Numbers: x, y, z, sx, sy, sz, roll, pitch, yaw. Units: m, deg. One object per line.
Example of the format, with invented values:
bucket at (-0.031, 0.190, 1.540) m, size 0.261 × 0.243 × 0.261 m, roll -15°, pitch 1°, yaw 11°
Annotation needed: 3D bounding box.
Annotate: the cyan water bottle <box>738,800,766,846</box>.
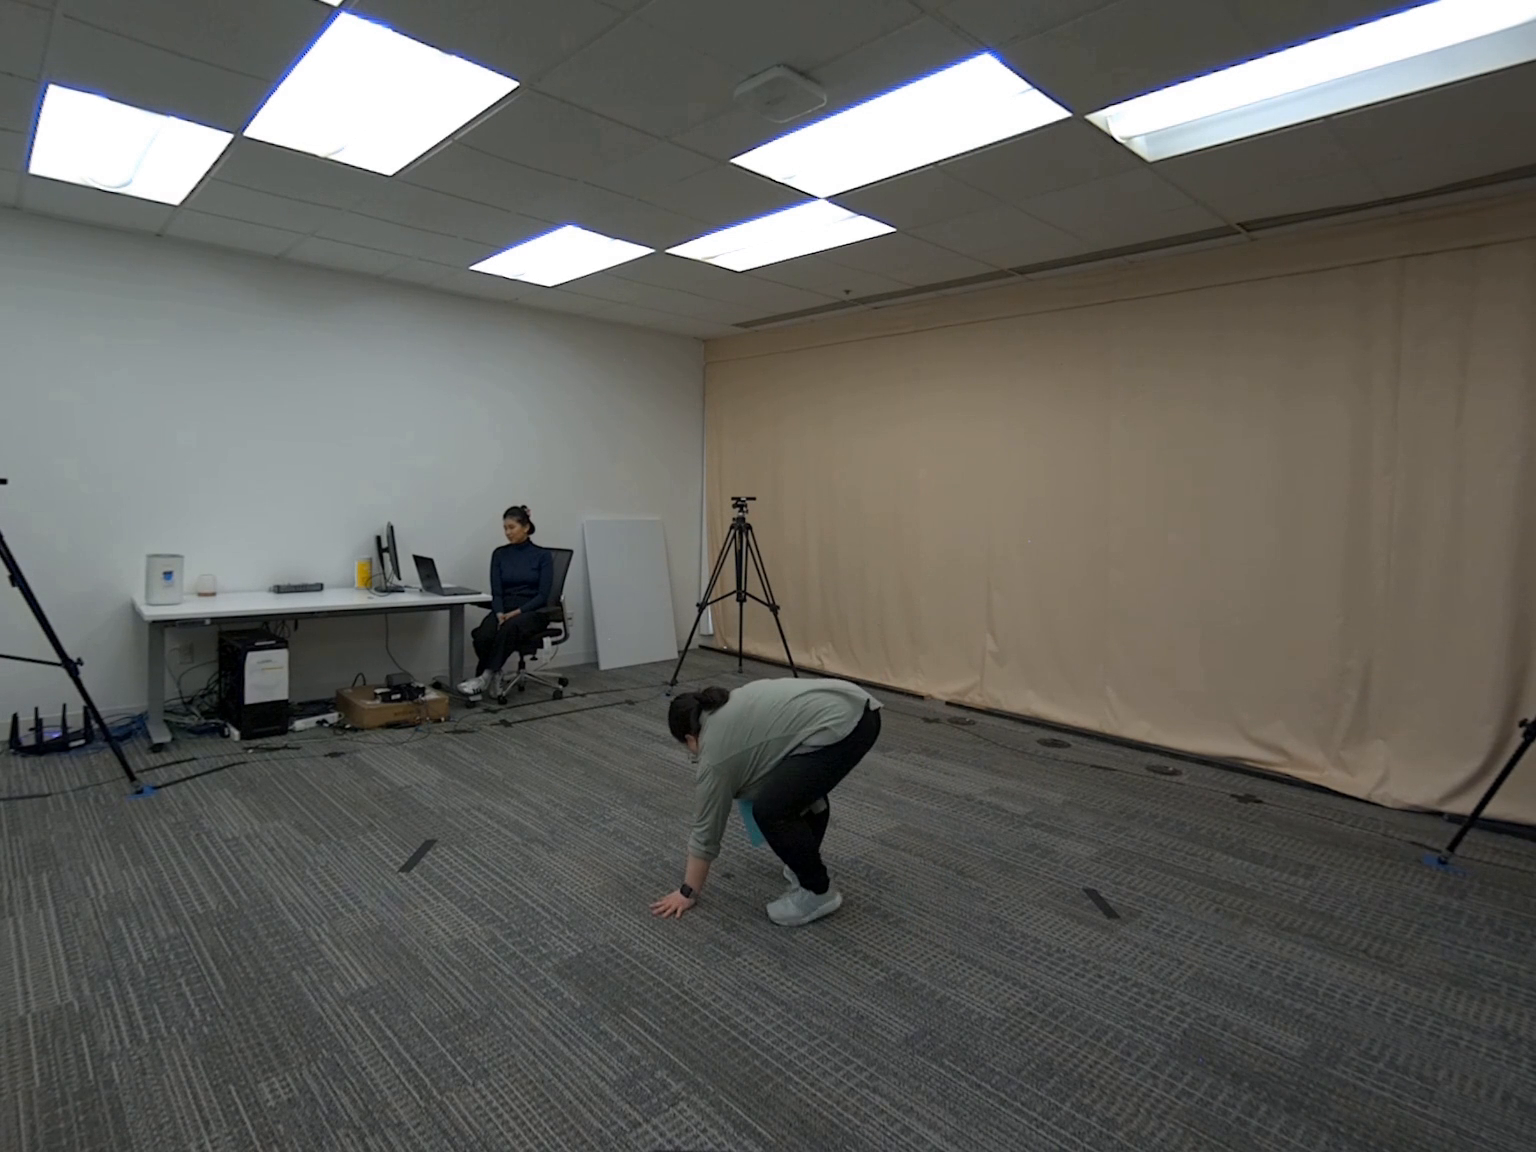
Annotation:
cyan water bottle at (-0.043, 0.834, 3.046) m, size 0.092 × 0.288 × 0.091 m, roll -16°, pitch -19°, yaw -7°
